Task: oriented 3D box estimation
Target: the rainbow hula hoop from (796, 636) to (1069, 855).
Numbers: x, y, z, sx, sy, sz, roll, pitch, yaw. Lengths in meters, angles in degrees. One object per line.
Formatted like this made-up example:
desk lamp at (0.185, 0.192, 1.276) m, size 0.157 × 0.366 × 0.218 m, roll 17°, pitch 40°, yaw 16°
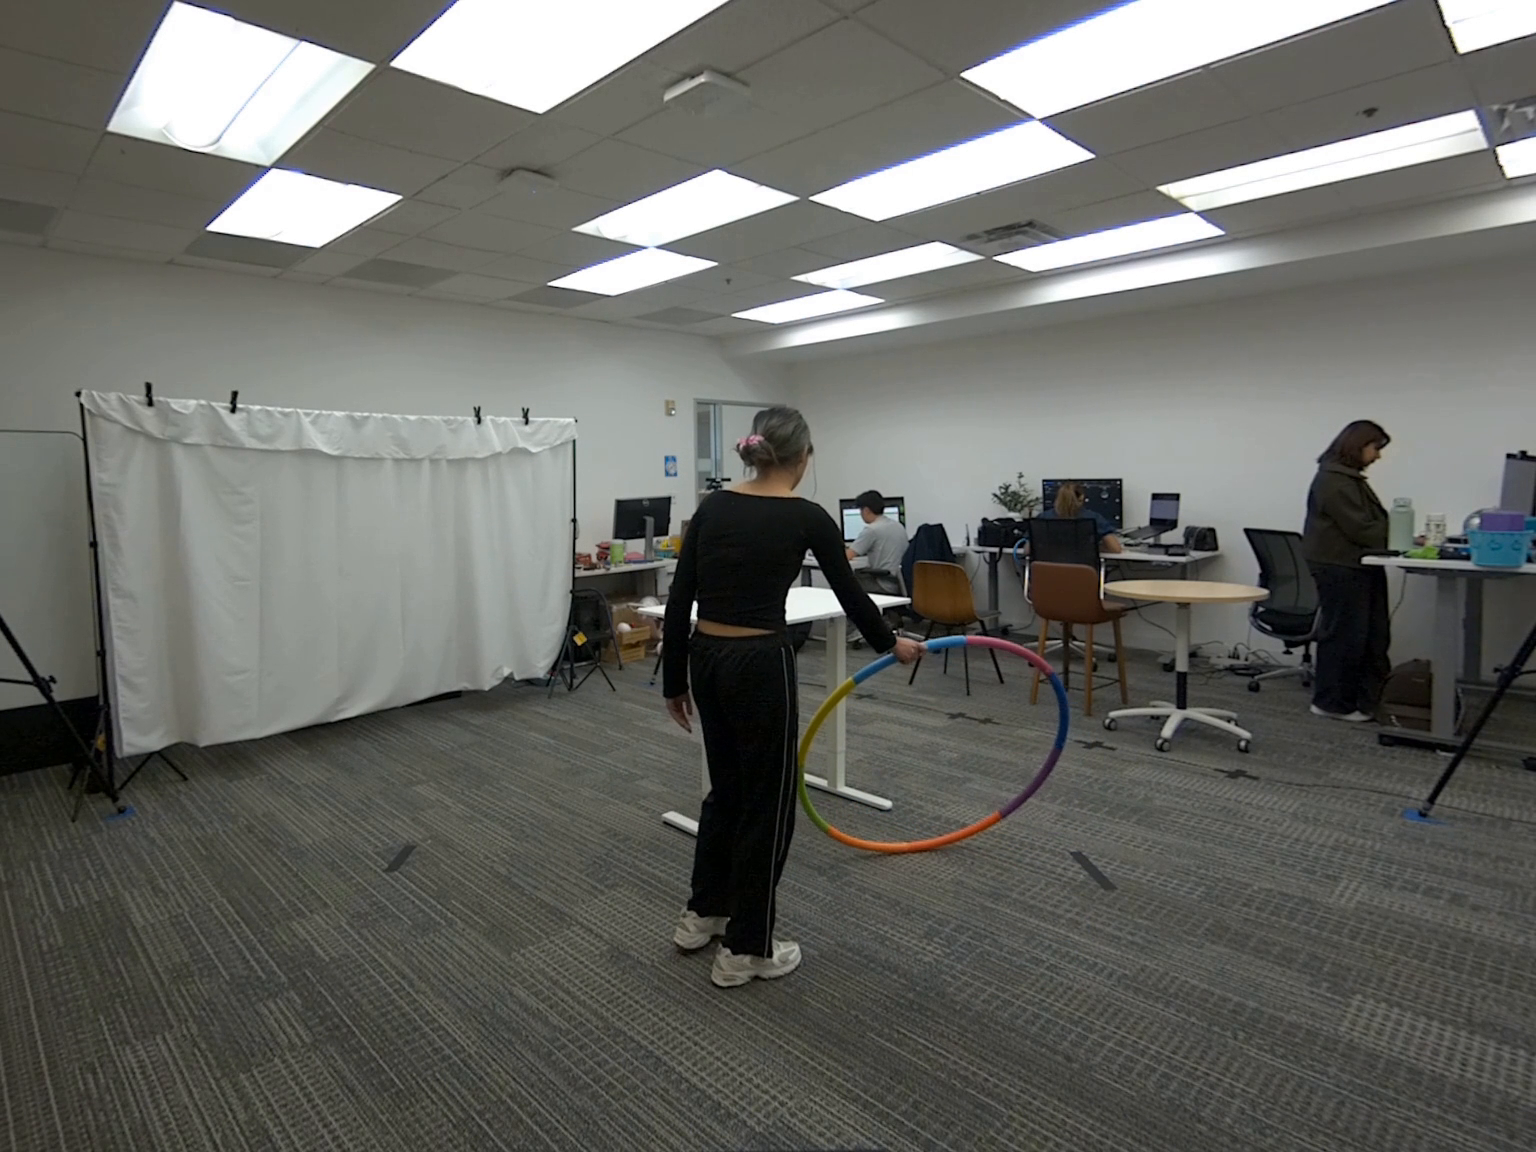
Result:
rainbow hula hoop at (0.570, 0.599, 2.923) m, size 0.969 × 0.957 × 0.037 m, roll -1°, pitch 33°, yaw -10°
